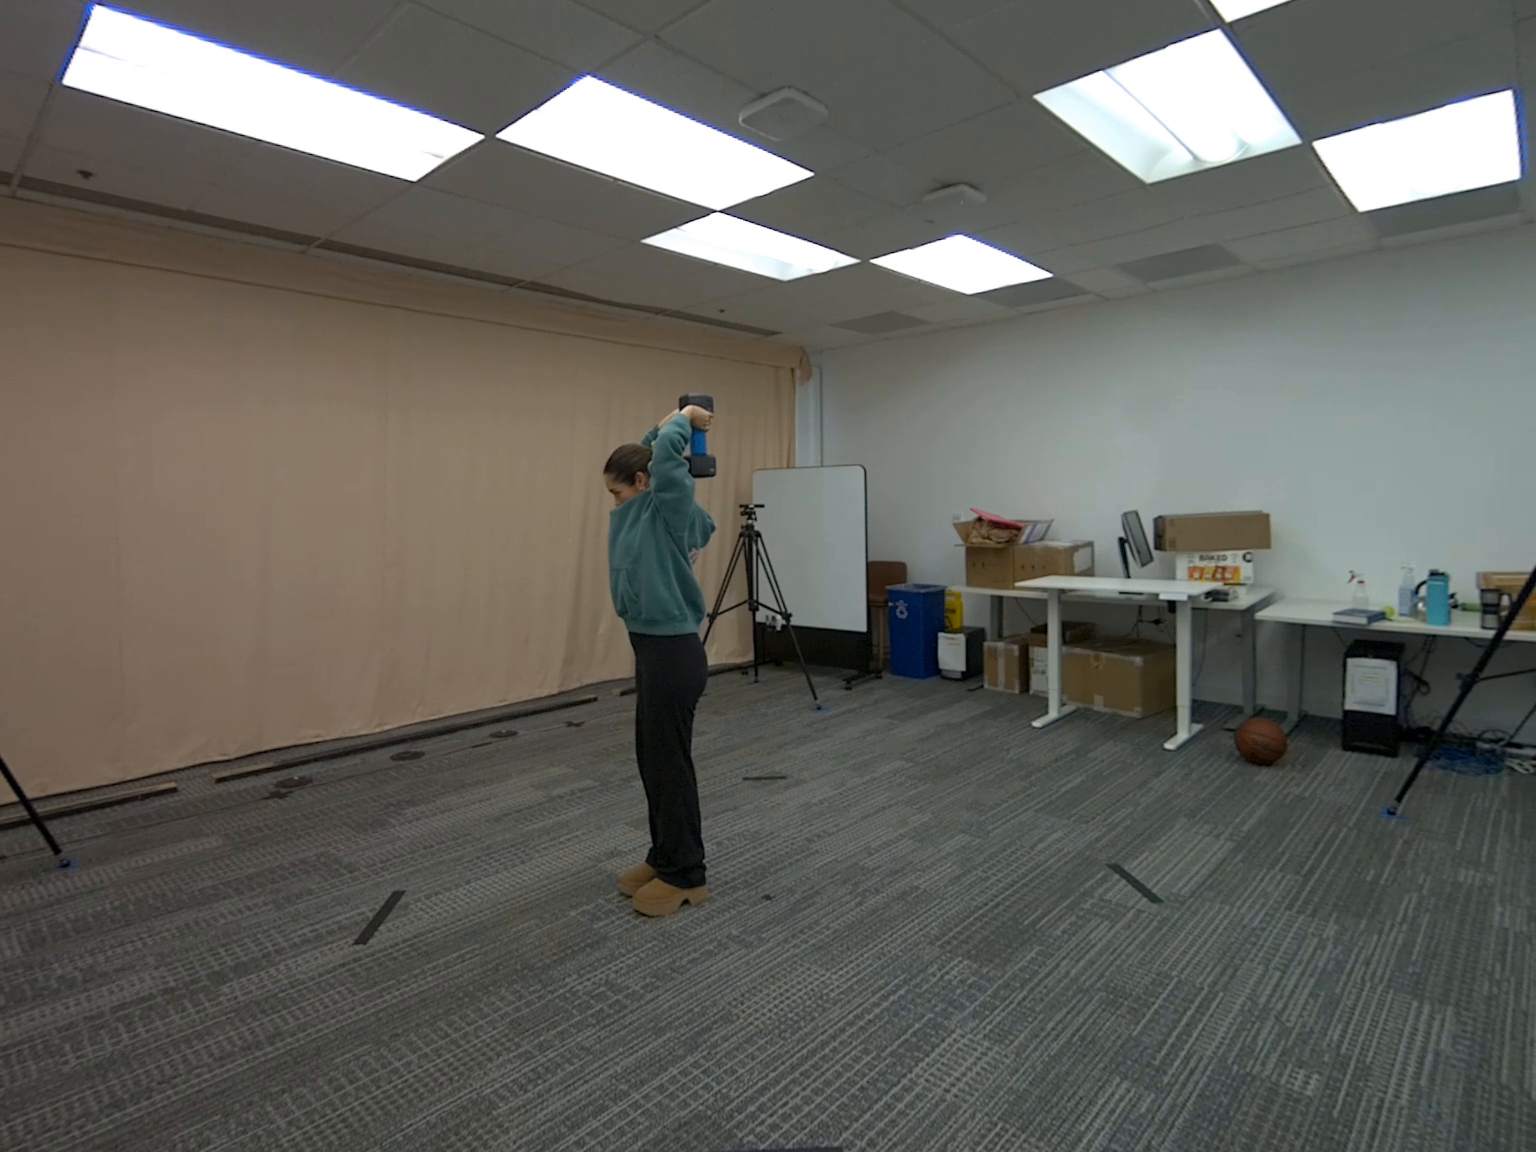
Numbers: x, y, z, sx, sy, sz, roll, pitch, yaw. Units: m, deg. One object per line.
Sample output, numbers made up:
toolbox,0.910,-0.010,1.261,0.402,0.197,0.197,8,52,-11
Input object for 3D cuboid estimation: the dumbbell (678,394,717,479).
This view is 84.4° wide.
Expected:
dumbbell,-0.253,-0.495,2.964,0.121,0.293,0.110,-3,2,-12
